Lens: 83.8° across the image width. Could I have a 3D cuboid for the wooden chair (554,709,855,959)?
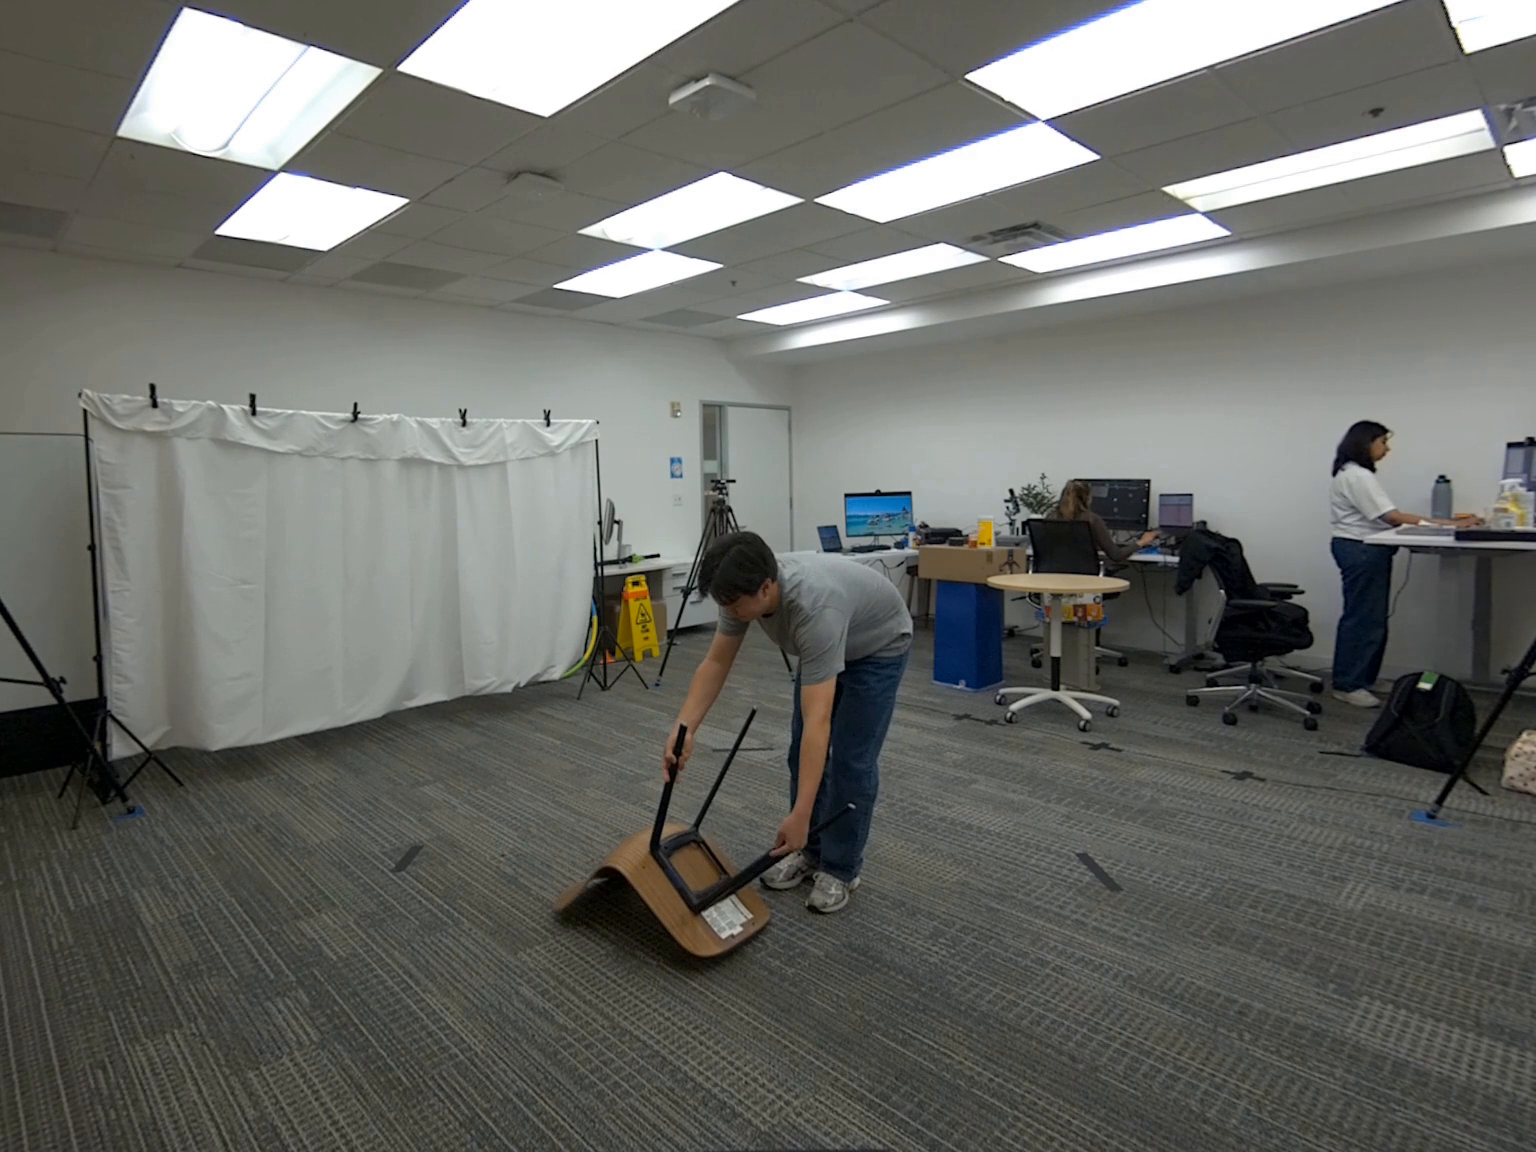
[{"bbox_3d":[-0.224,0.914,2.659,0.538,0.876,0.465,46,18,22],"label":"wooden chair"}]
